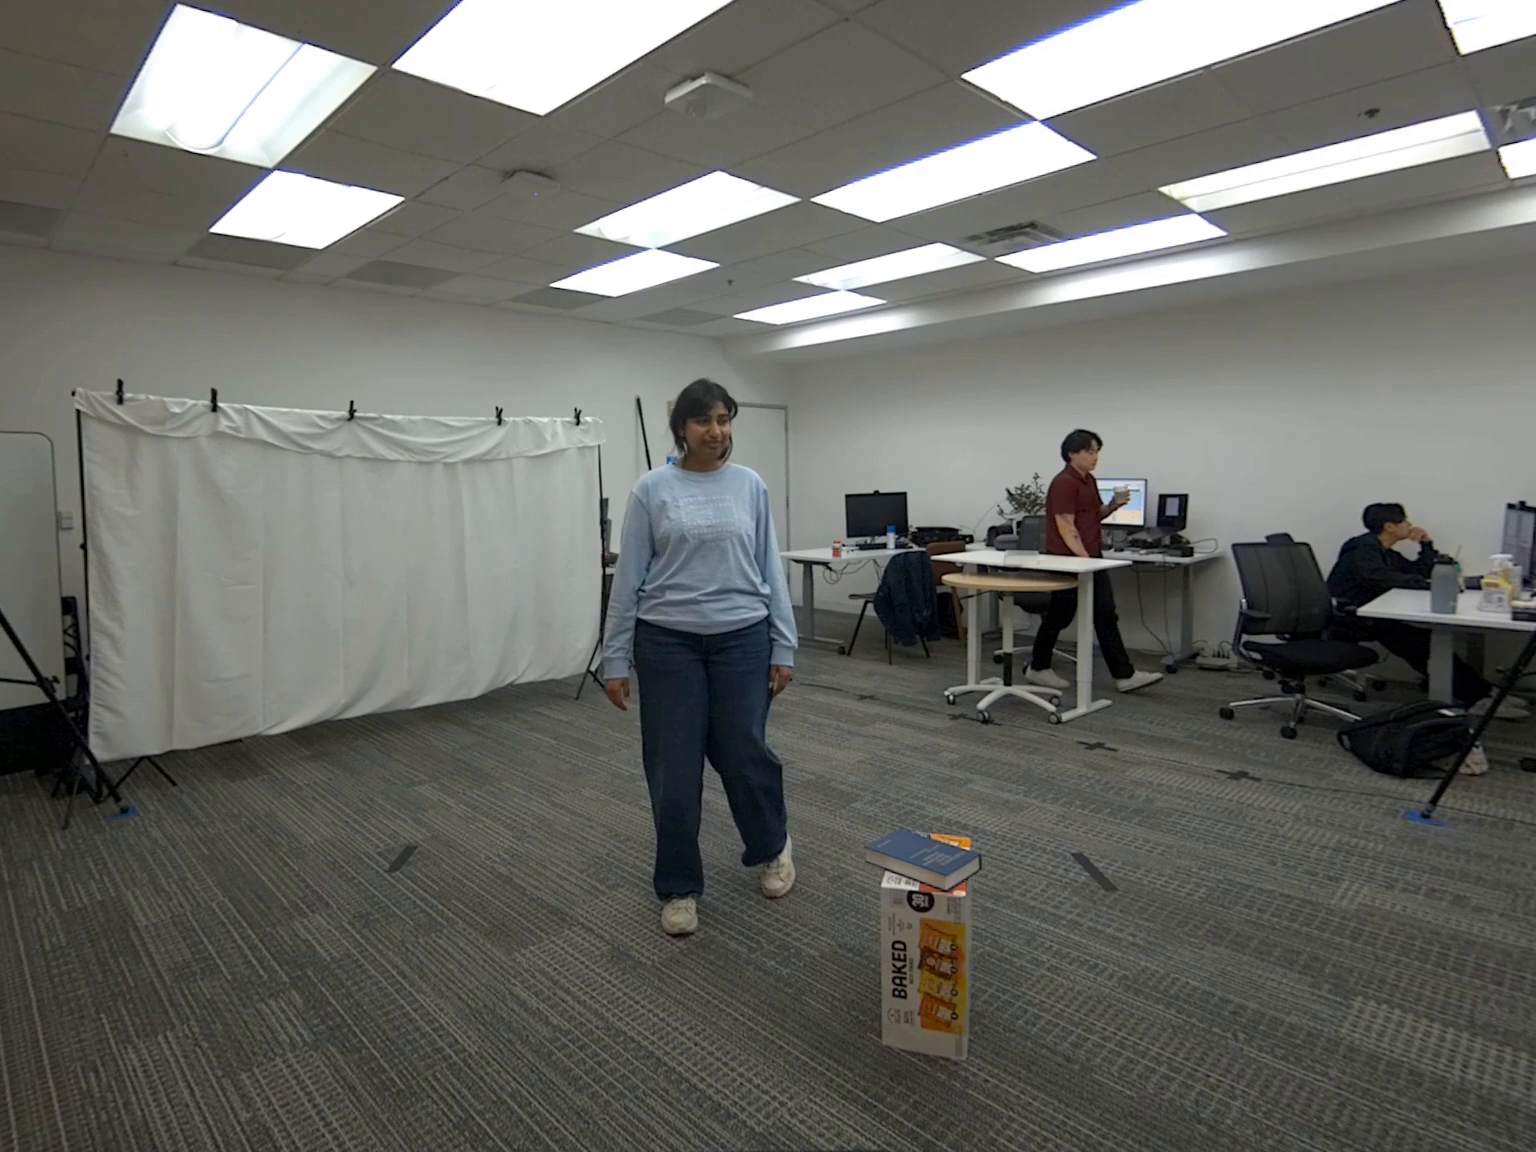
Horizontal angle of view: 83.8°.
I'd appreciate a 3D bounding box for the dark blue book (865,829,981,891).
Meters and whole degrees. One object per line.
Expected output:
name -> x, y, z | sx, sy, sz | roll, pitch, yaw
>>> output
dark blue book -> 0.395, 0.715, 2.179 | 0.252, 0.045, 0.159 | 4, 9, 44
